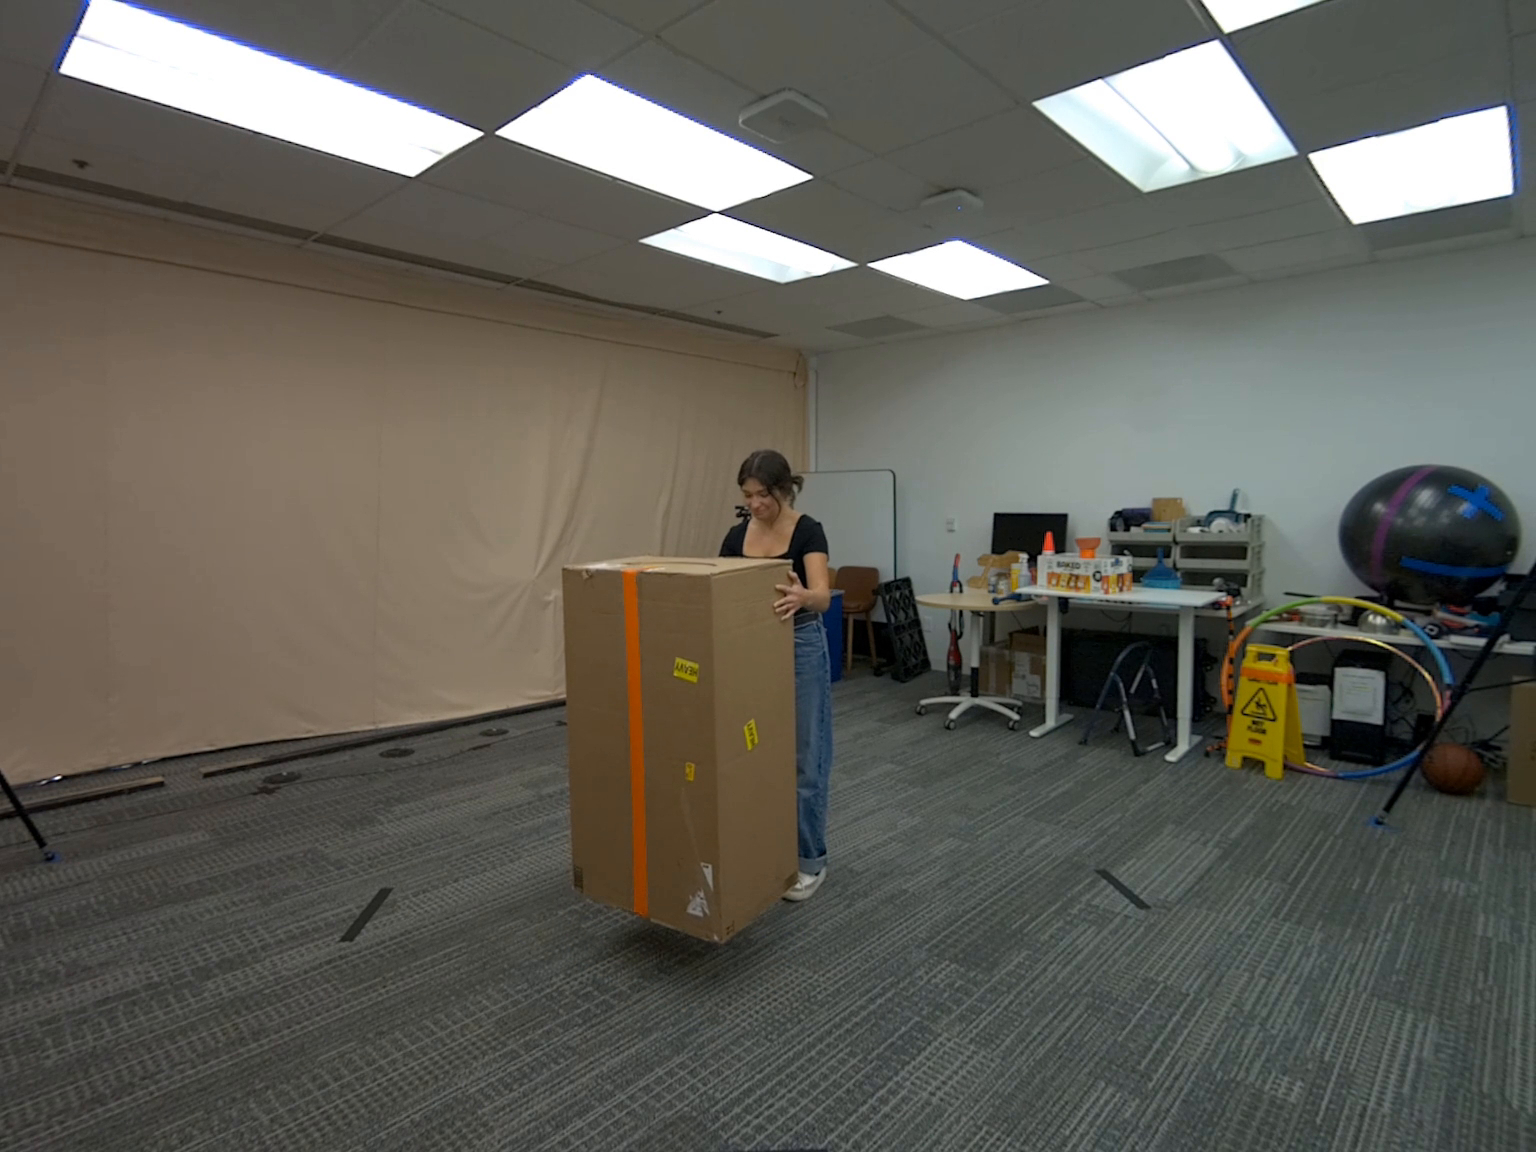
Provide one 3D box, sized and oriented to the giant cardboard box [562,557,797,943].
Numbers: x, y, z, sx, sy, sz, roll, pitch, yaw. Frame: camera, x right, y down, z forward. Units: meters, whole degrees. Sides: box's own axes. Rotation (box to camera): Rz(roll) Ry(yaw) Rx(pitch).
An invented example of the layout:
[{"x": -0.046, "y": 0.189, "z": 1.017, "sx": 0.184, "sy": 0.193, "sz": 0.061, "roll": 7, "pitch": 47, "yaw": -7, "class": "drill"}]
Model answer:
[{"x": -0.271, "y": 0.474, "z": 2.593, "sx": 0.595, "sy": 1.023, "sz": 0.414, "roll": 2, "pitch": 5, "yaw": 34, "class": "giant cardboard box"}]
